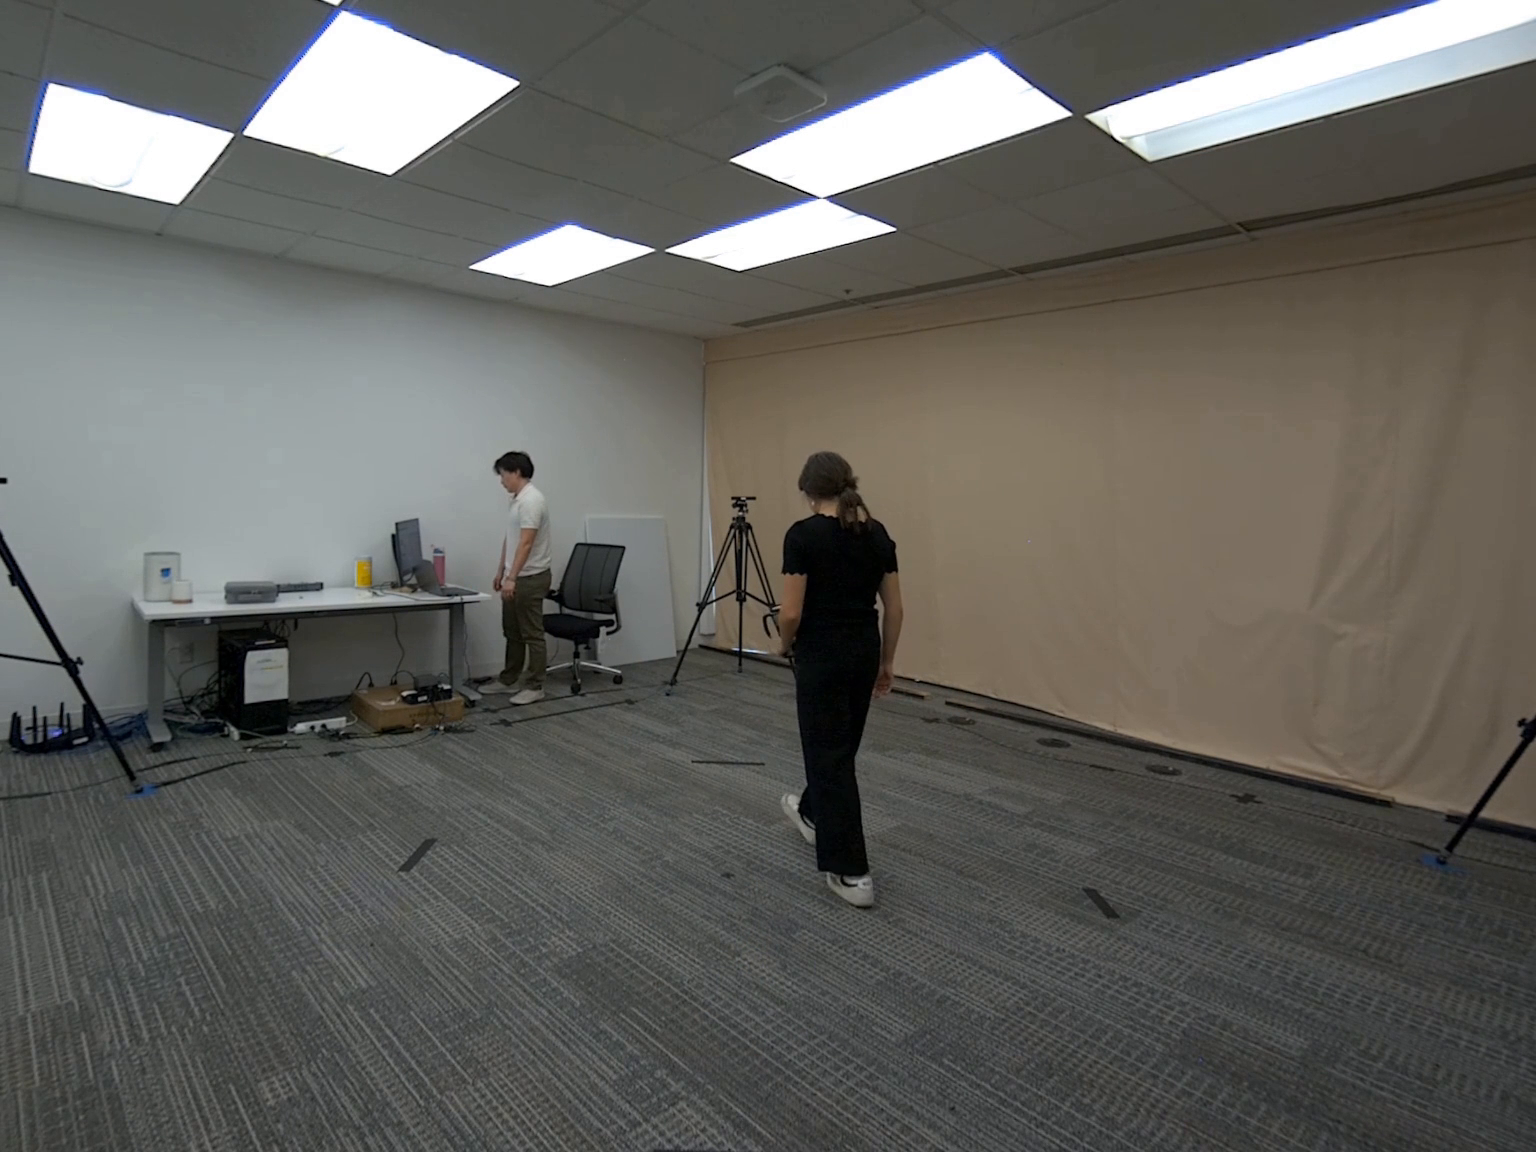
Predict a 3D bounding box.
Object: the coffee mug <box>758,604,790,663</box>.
[{"bbox_3d":[0.055,0.218,3.265,0.124,0.201,0.087,-8,10,25],"label":"coffee mug"}]
